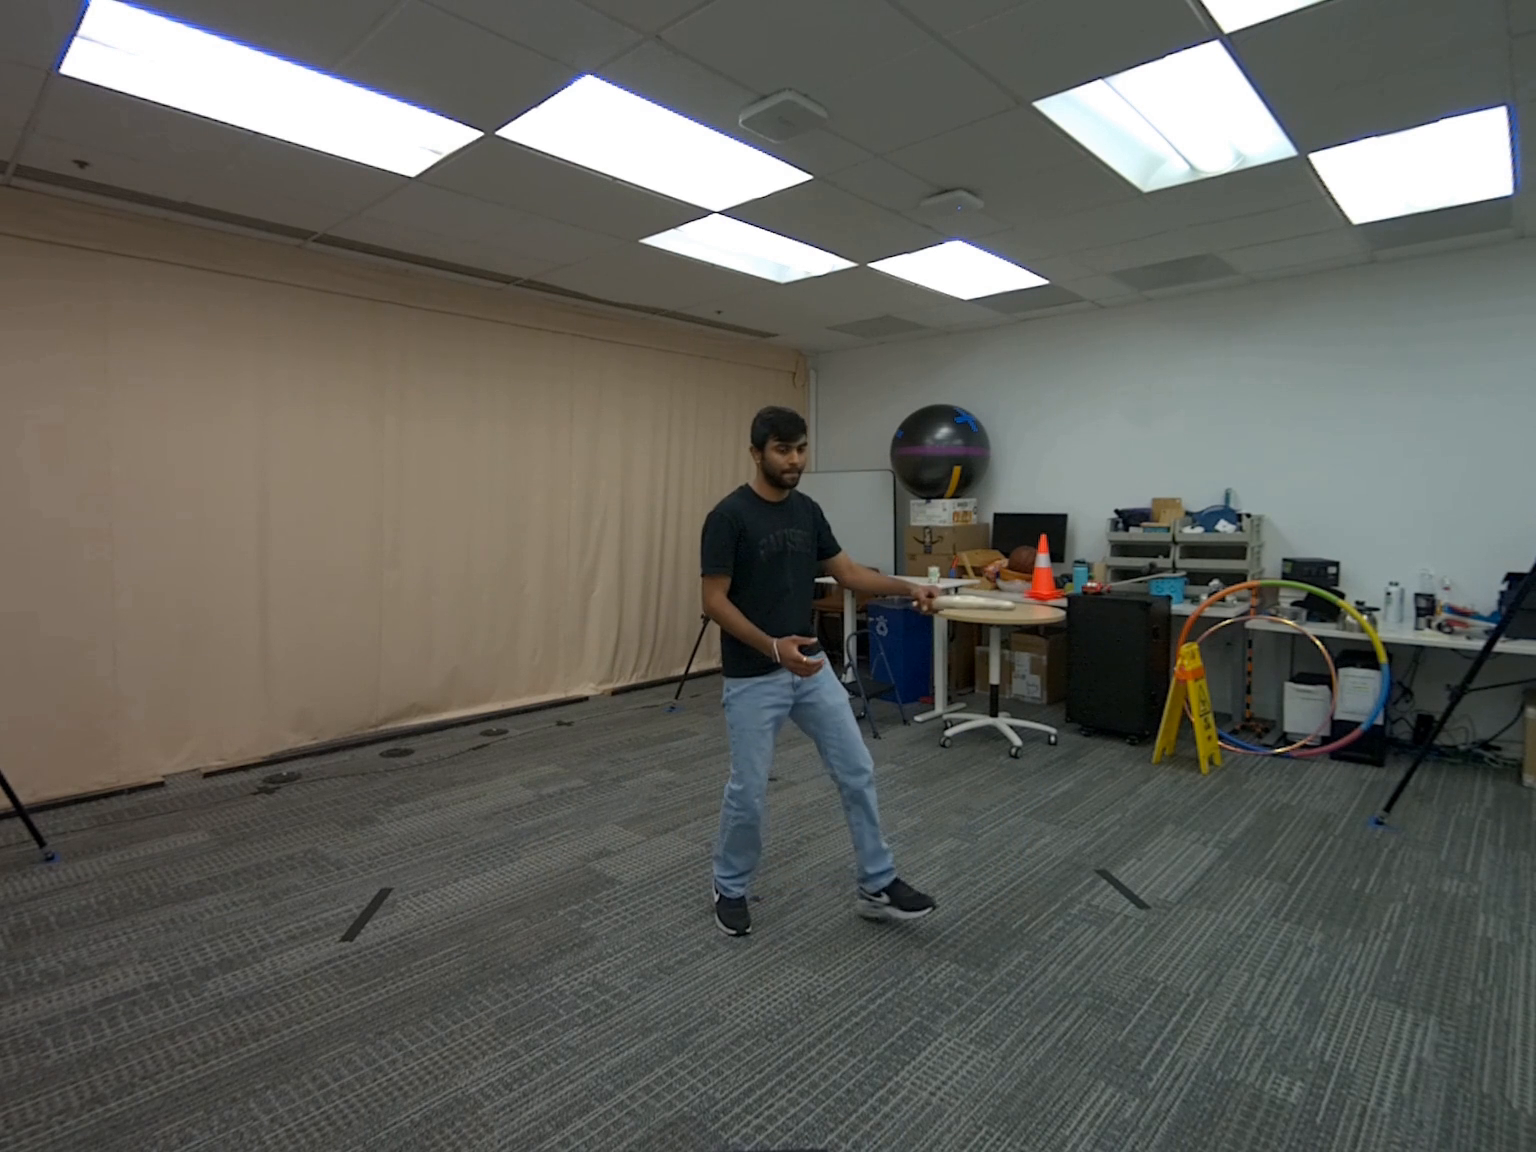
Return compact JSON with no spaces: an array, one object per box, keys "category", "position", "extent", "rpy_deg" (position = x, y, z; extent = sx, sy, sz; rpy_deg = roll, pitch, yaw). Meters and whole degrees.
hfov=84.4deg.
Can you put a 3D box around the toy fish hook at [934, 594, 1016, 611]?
[{"category":"toy fish hook","position":[0.646,0.097,2.553],"extent":[0.221,0.048,0.515],"rpy_deg":[3,0,-16]}]
